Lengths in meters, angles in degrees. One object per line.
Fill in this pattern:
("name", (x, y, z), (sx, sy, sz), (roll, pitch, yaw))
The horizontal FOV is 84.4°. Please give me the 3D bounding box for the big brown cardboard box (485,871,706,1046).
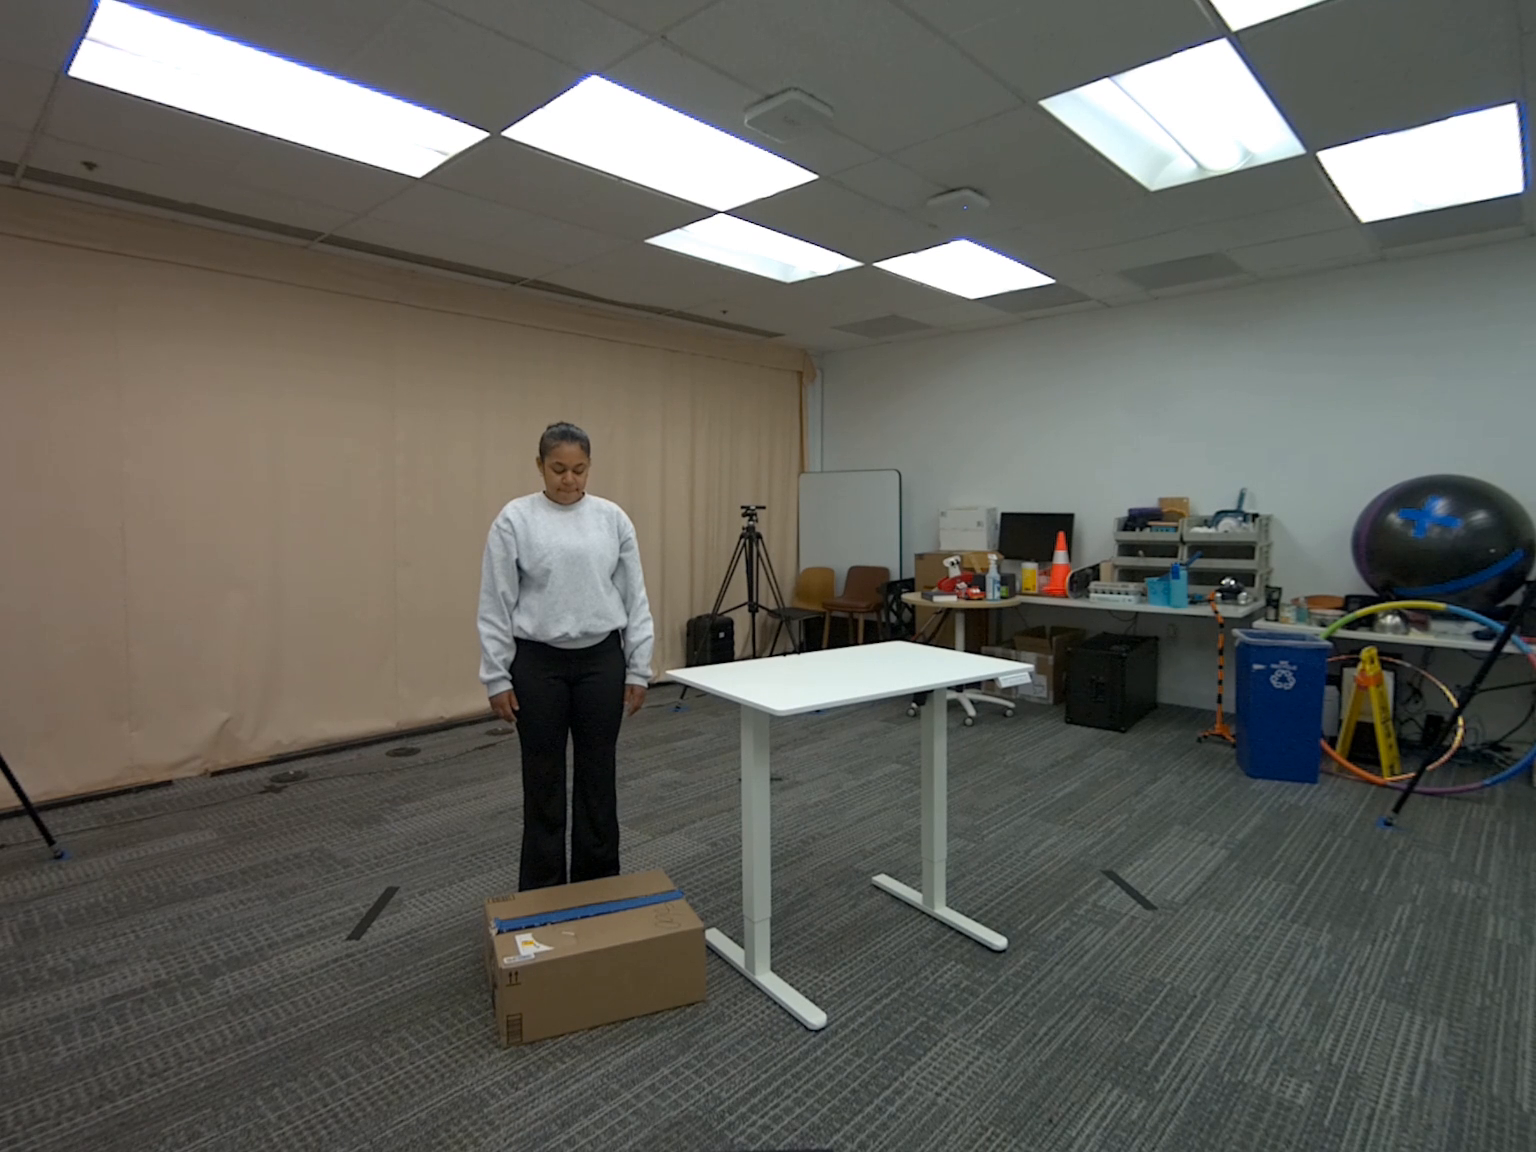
("big brown cardboard box", (-0.514, 1.083, 2.442), (0.576, 0.233, 0.428), (-1, 4, -23))
